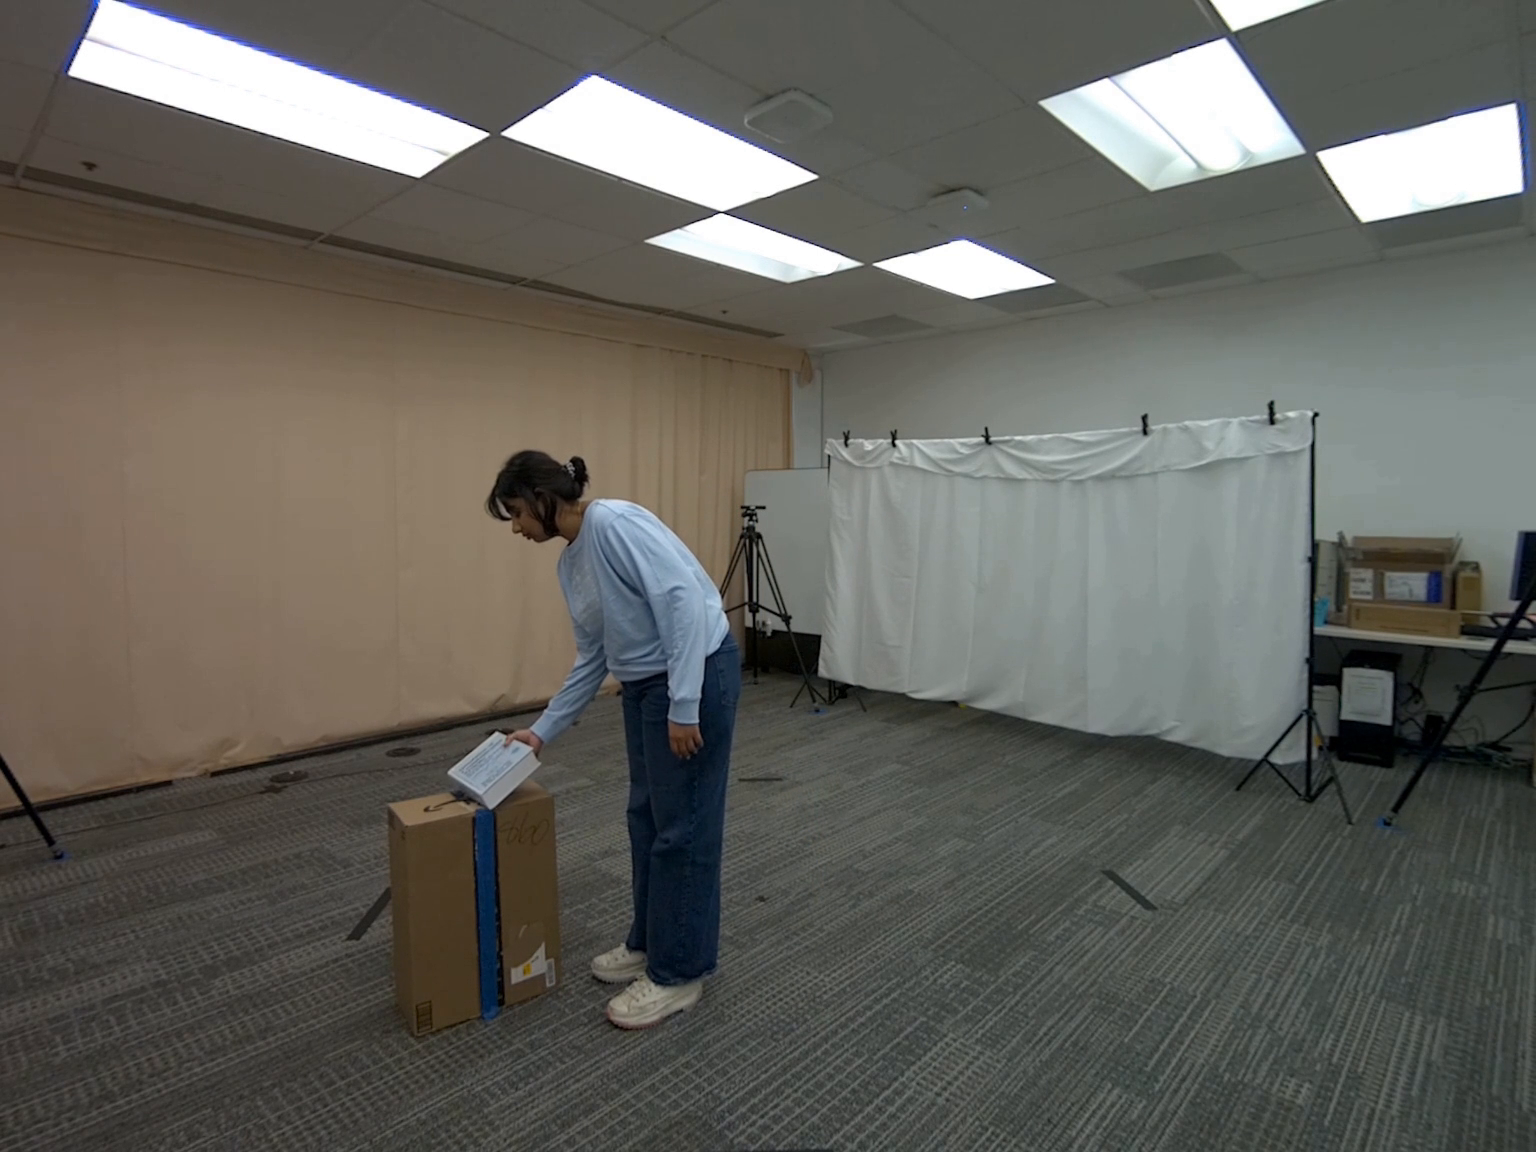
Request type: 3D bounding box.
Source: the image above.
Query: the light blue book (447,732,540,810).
[{"bbox_3d":[-0.790,0.553,2.438,0.189,0.058,0.269,-41,26,-31],"label":"light blue book"}]
